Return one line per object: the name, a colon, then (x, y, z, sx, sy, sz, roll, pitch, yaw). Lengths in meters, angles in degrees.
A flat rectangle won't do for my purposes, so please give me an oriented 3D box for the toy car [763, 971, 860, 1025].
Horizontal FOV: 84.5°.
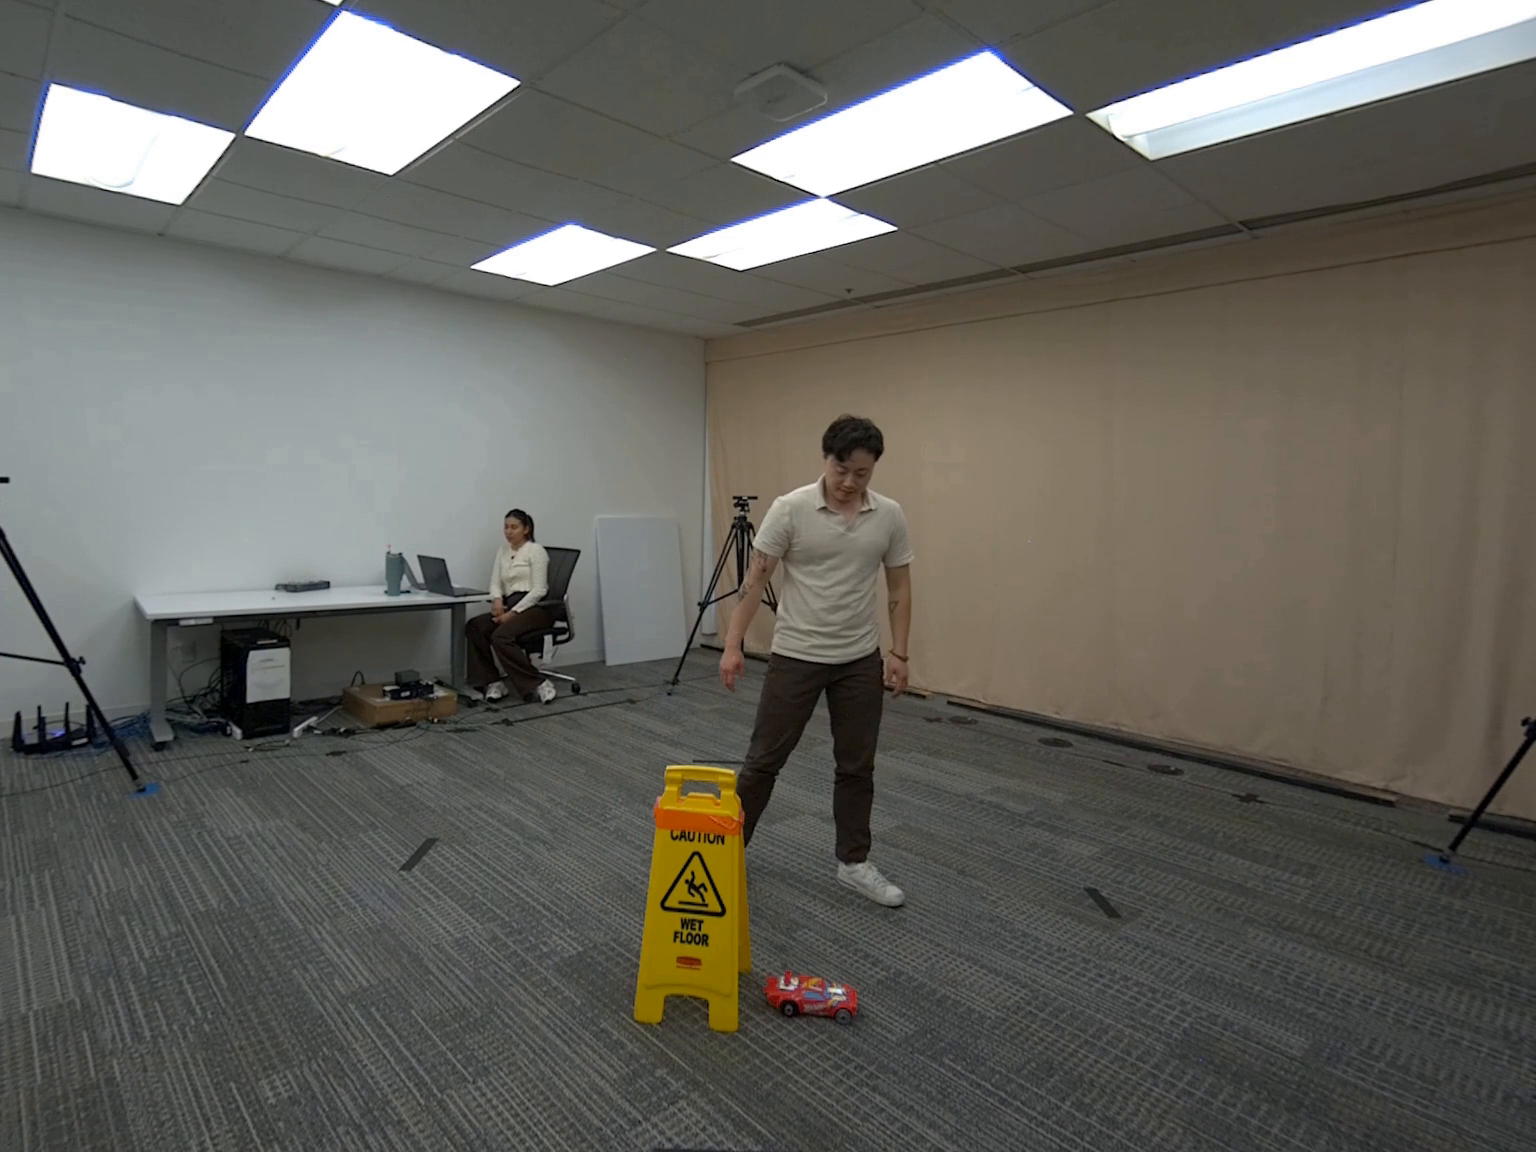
toy car: (0.110, 1.154, 2.294, 0.256, 0.083, 0.130, 12, 7, 6)
